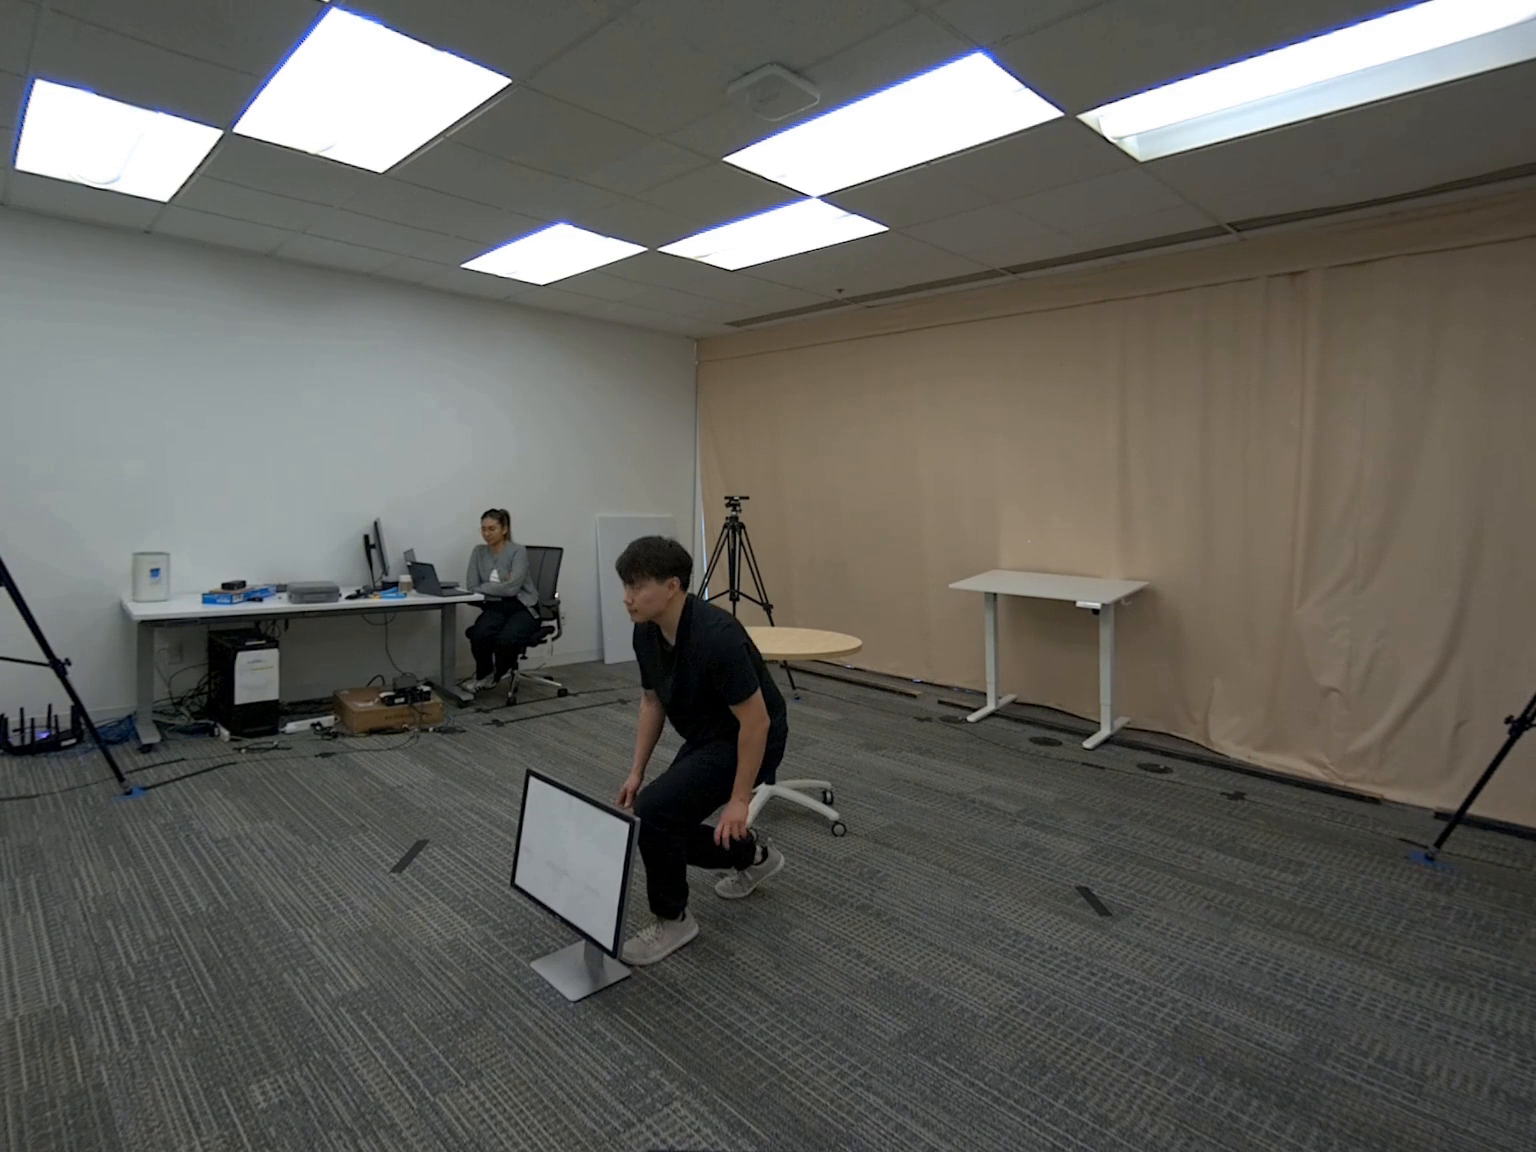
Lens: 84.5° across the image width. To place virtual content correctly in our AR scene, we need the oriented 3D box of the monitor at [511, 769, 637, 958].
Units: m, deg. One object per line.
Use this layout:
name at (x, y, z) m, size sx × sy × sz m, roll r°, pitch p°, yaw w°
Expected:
monitor at (-0.552, 0.894, 2.429) m, size 0.553 × 0.520 × 0.183 m, roll 5°, pitch 8°, yaw 44°
